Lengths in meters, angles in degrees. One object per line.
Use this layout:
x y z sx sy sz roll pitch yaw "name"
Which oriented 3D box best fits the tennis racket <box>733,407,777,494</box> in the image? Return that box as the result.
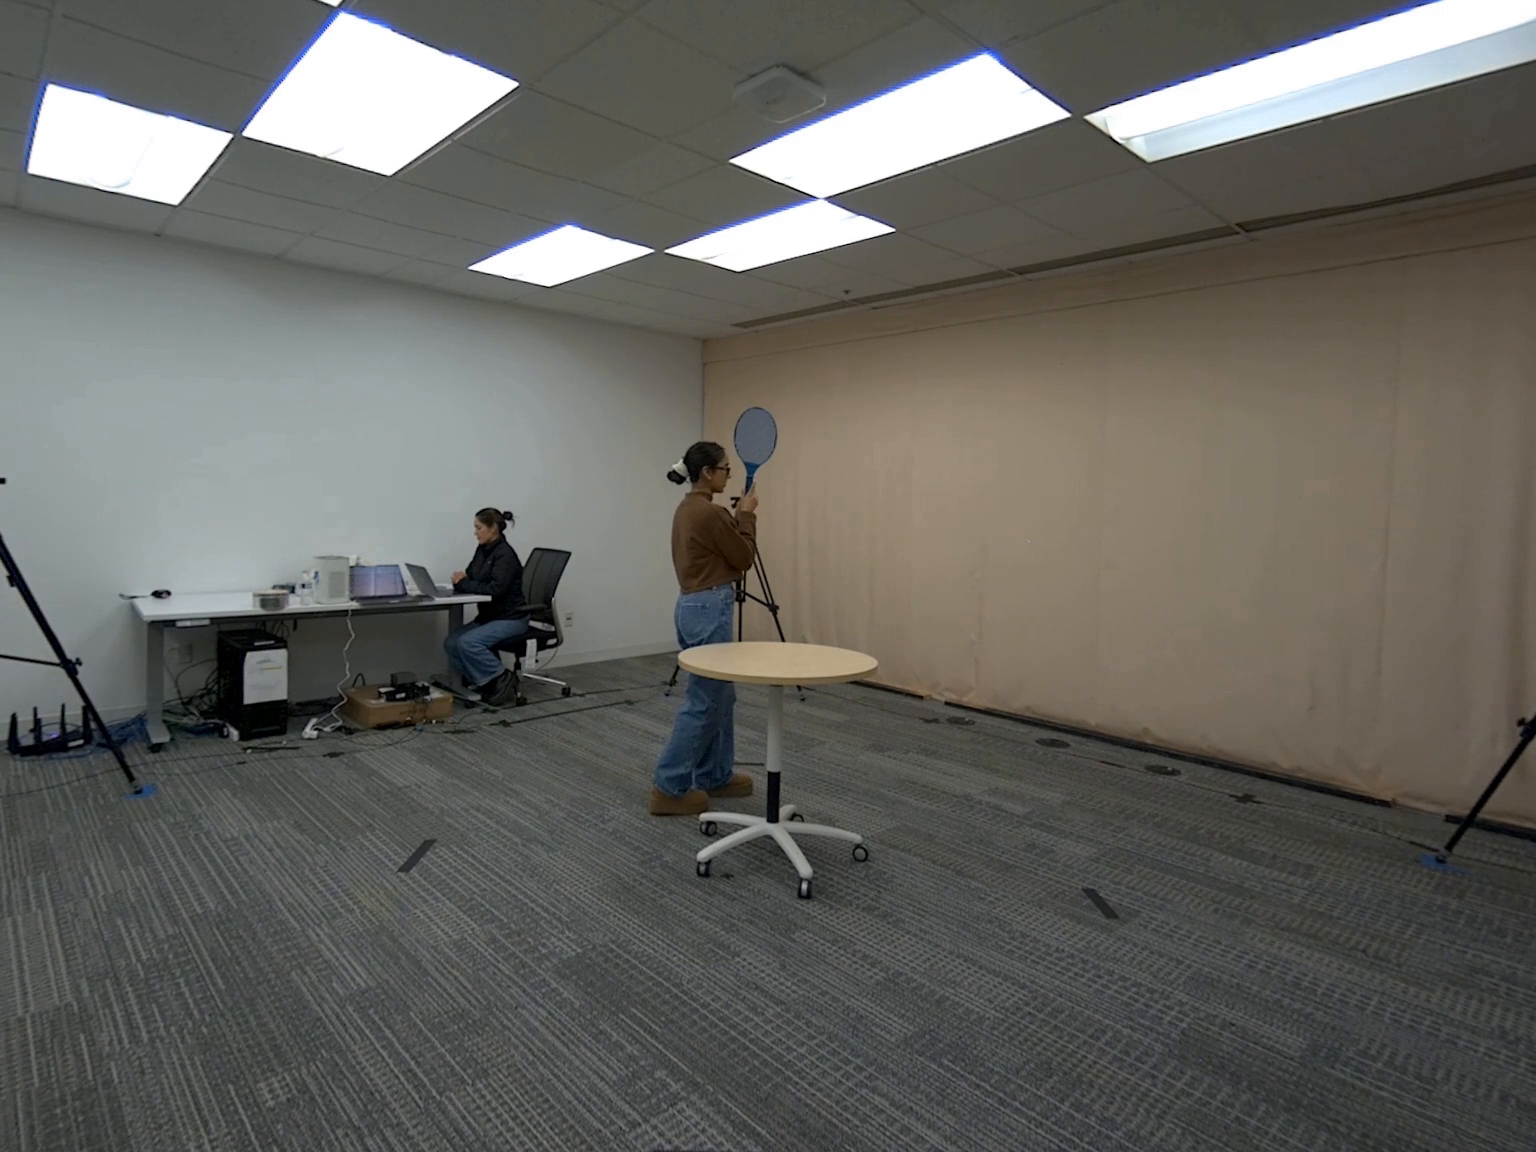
-0.085 -0.550 3.811 0.218 0.430 0.031 15 13 26 "tennis racket"
